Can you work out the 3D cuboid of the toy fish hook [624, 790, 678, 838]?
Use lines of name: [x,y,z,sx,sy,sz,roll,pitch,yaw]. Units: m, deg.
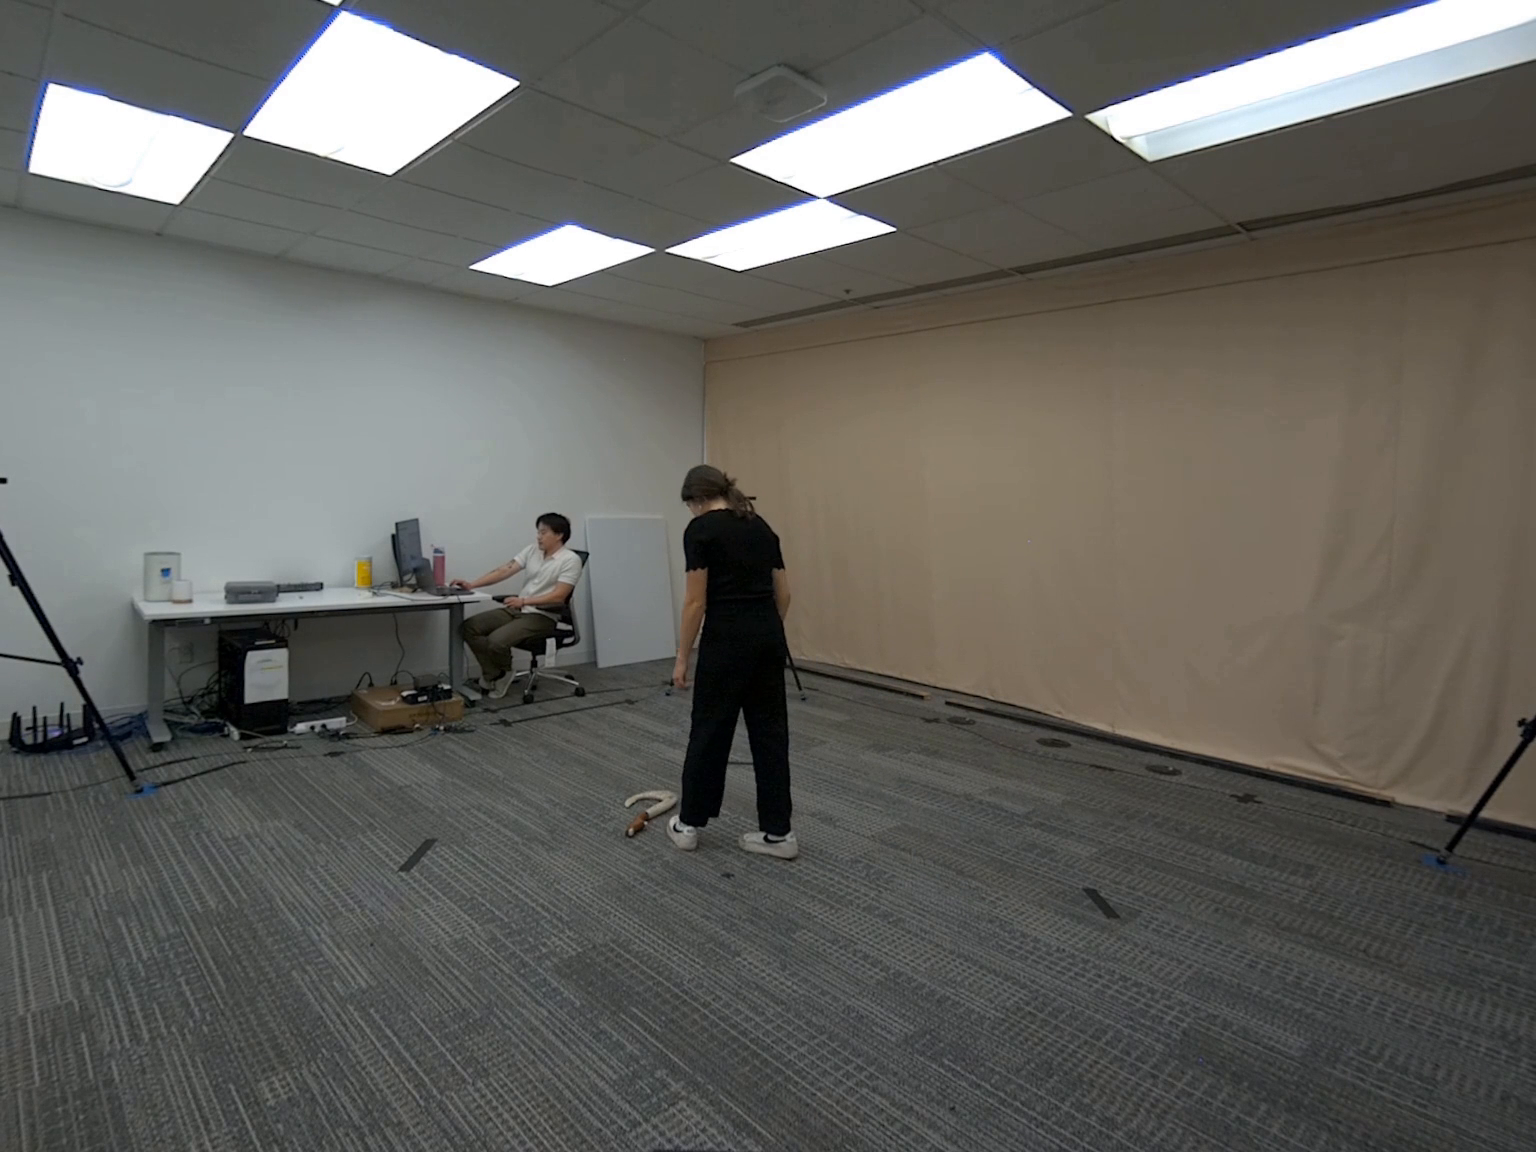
toy fish hook: [-0.565,1.027,3.668,0.227,0.048,0.501,-5,2,15]
